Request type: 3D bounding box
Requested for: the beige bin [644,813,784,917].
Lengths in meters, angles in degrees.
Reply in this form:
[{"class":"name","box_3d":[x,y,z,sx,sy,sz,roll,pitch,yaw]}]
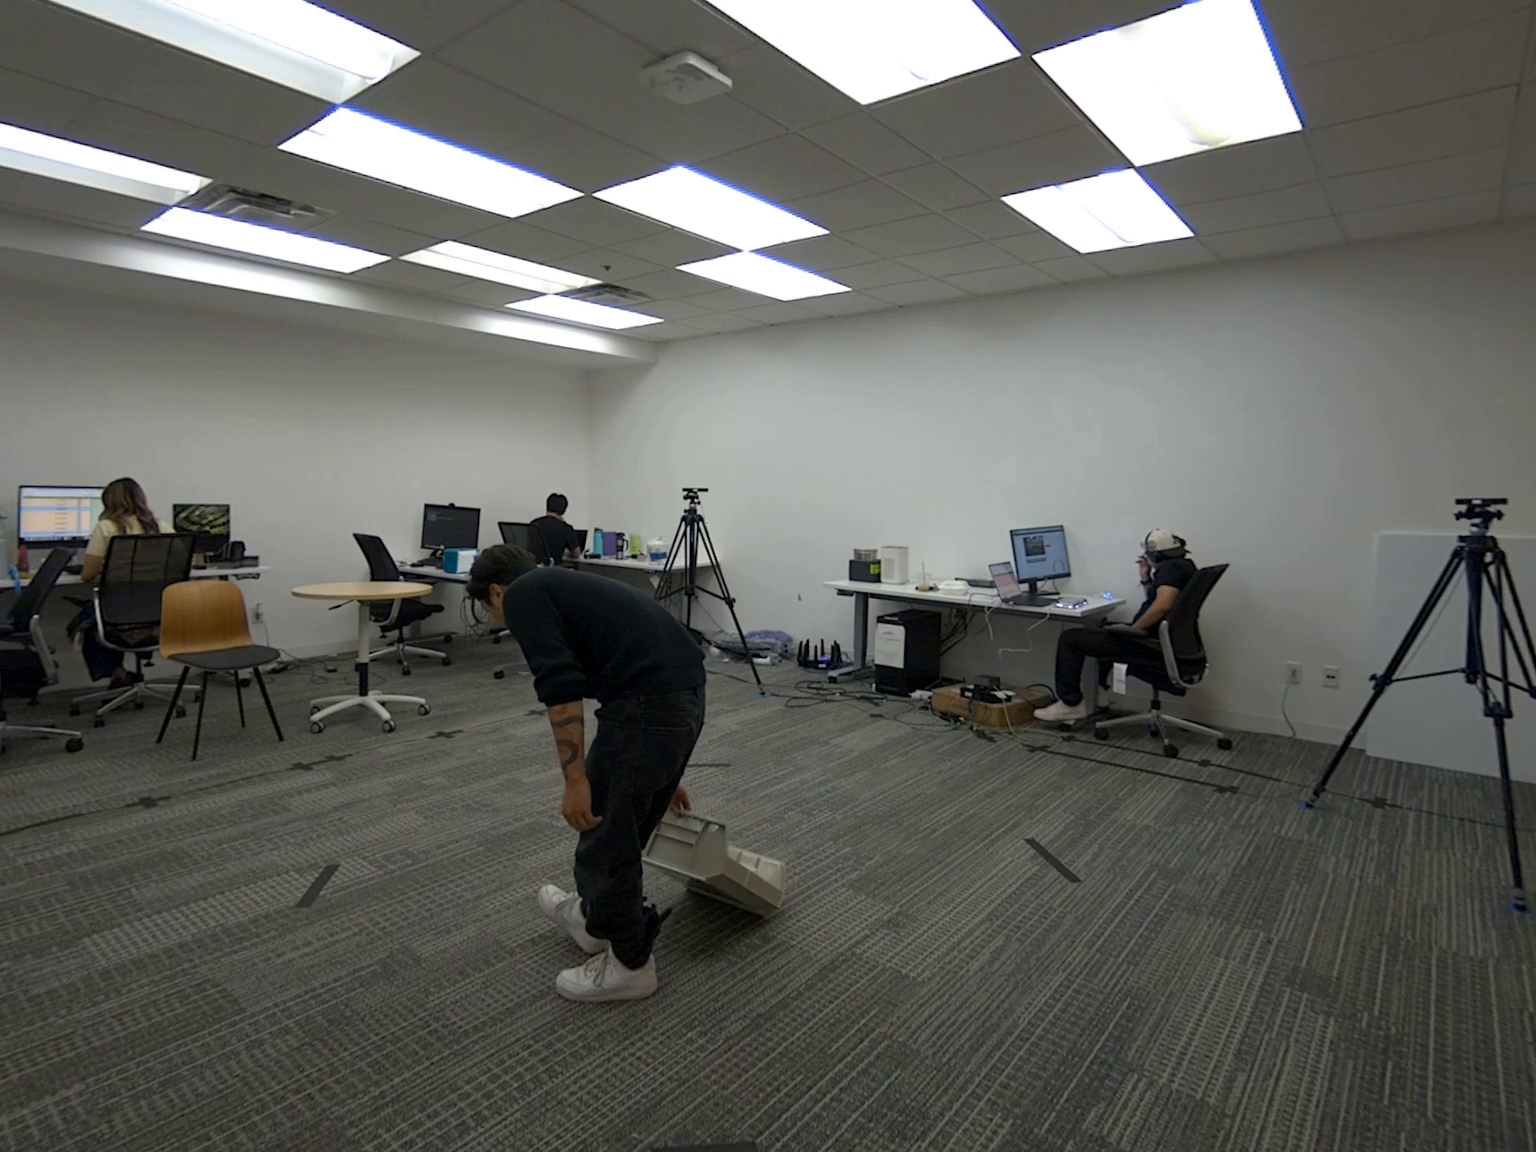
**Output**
[{"class":"beige bin","box_3d":[-0.195,0.913,2.746,0.389,0.191,0.404,4,-29,34]}]
